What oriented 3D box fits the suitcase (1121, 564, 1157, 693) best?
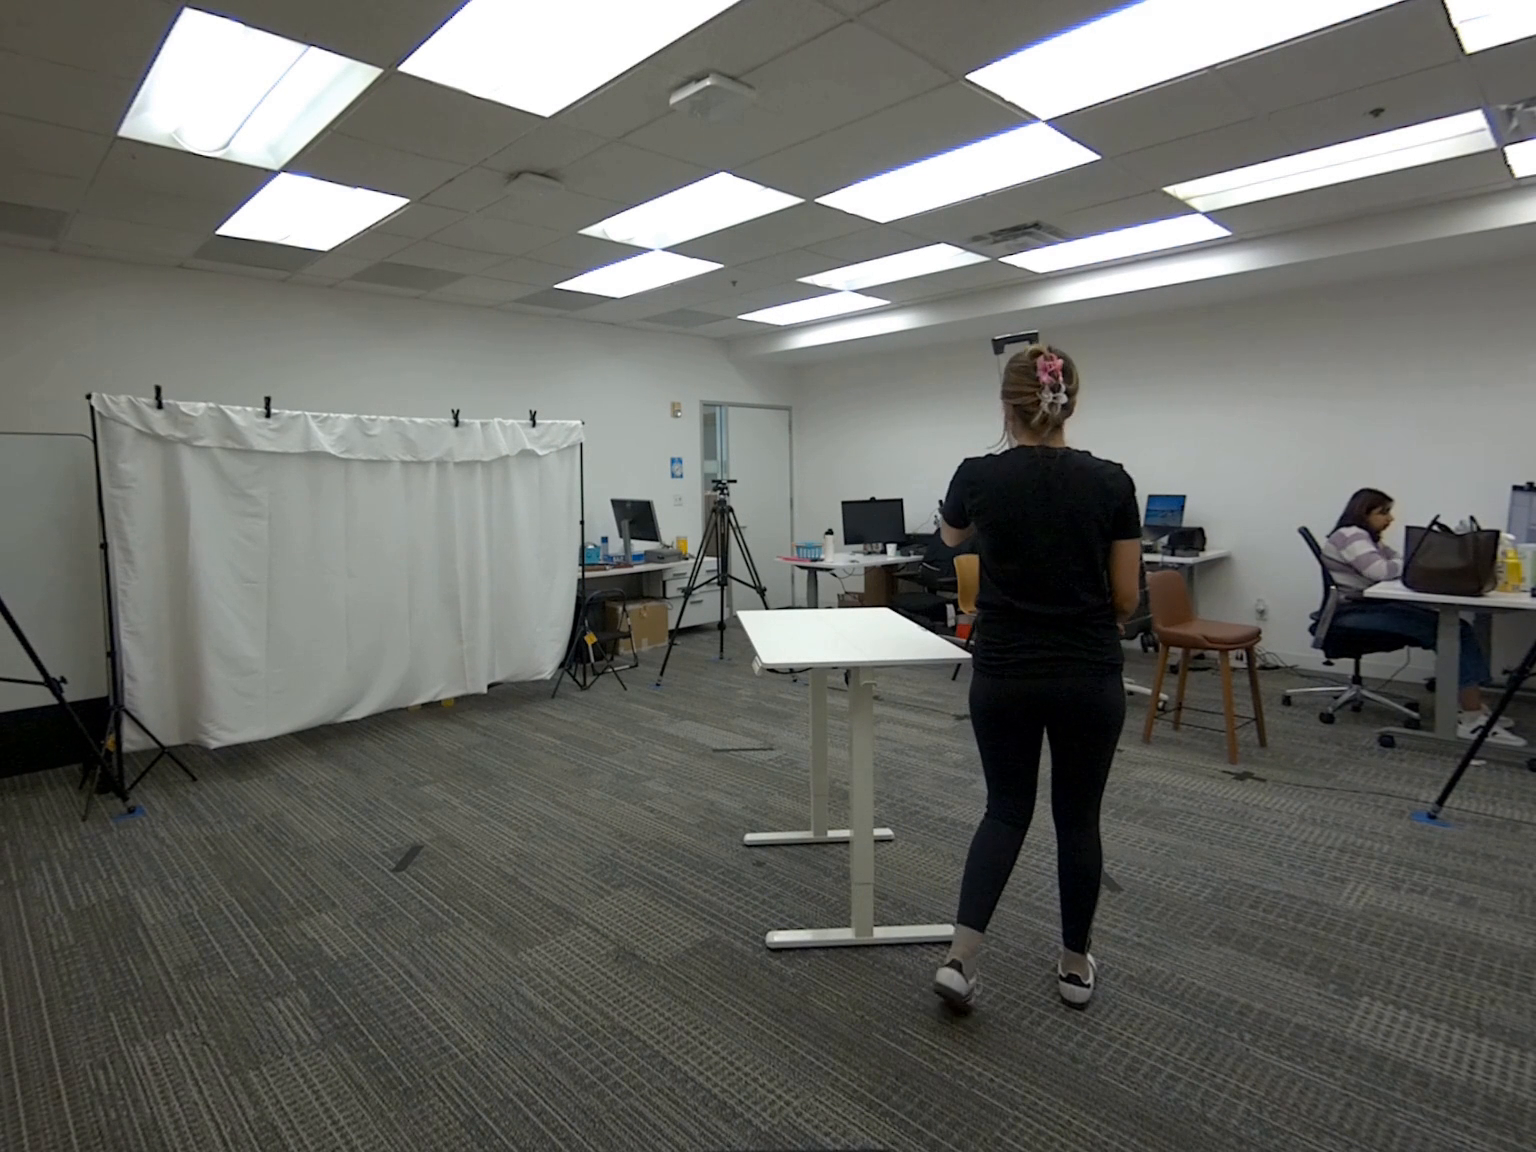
[{"bbox_3d":[0.858,-0.230,2.495,0.380,0.971,0.261,-13,7,-14],"label":"suitcase"}]
